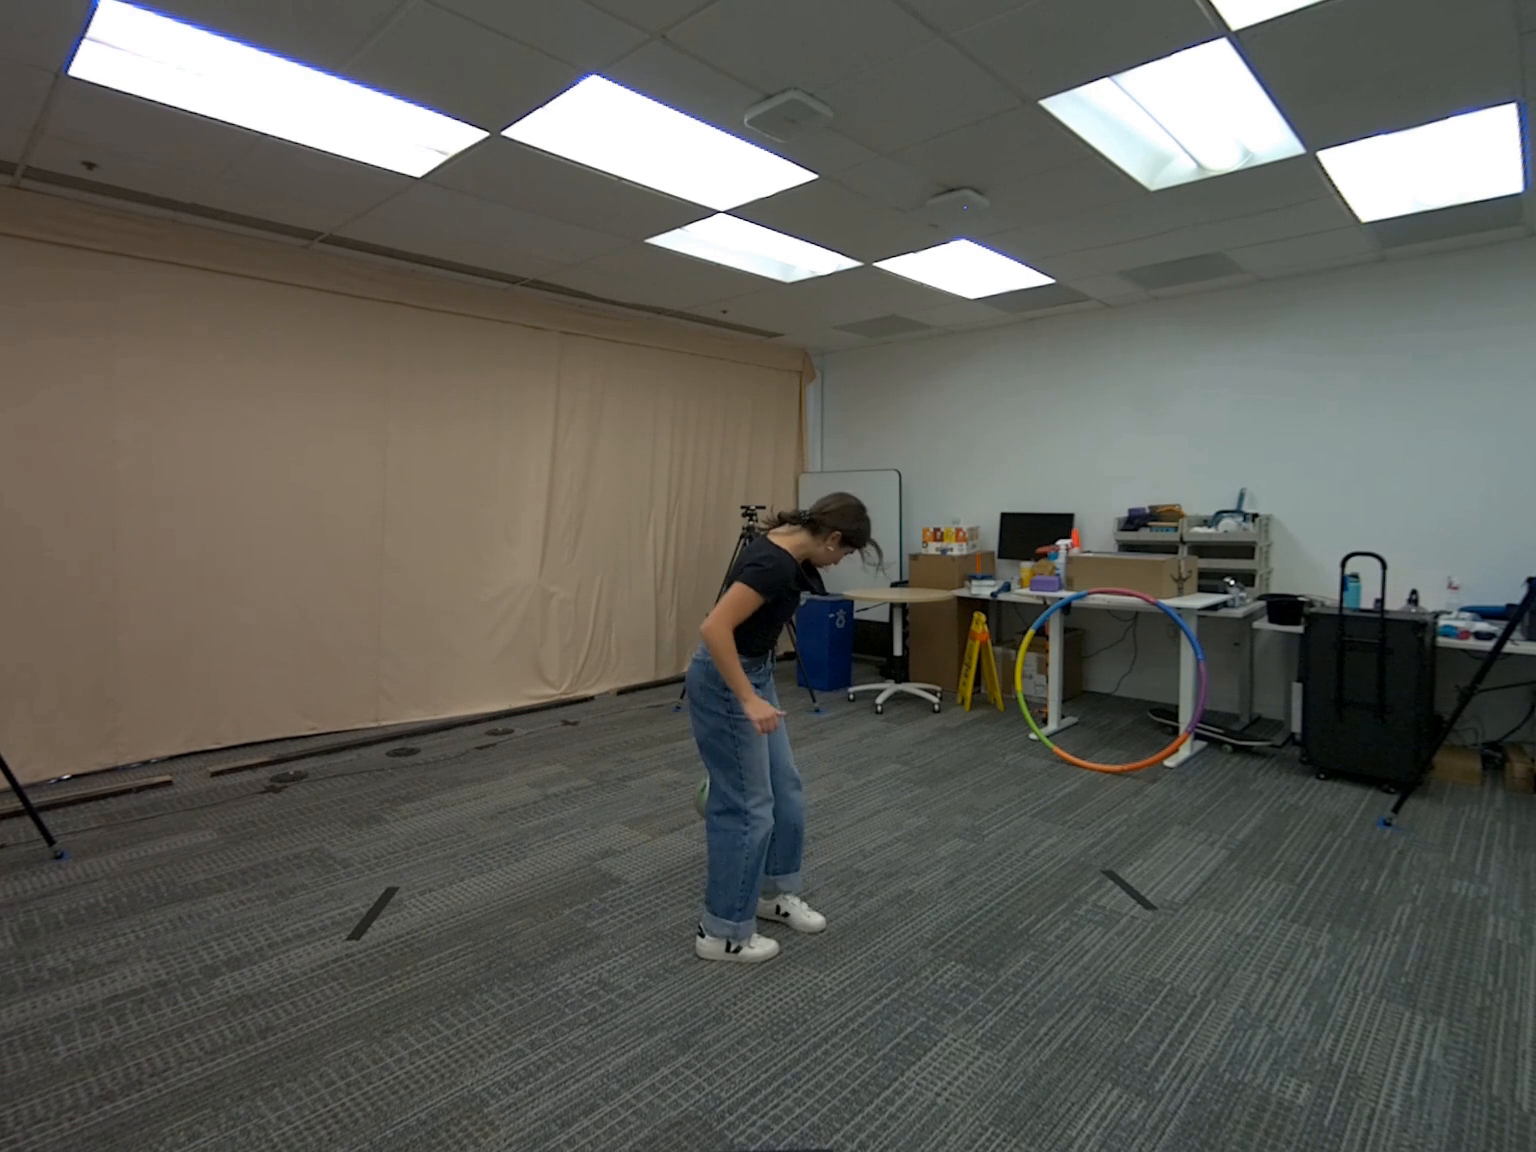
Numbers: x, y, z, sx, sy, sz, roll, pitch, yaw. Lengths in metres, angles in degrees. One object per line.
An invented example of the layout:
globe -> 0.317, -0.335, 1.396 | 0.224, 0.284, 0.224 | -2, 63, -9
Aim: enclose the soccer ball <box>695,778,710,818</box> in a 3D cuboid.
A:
soccer ball -> -0.164, 0.891, 3.193 | 0.187, 0.187, 0.188 | 0, 4, -2
